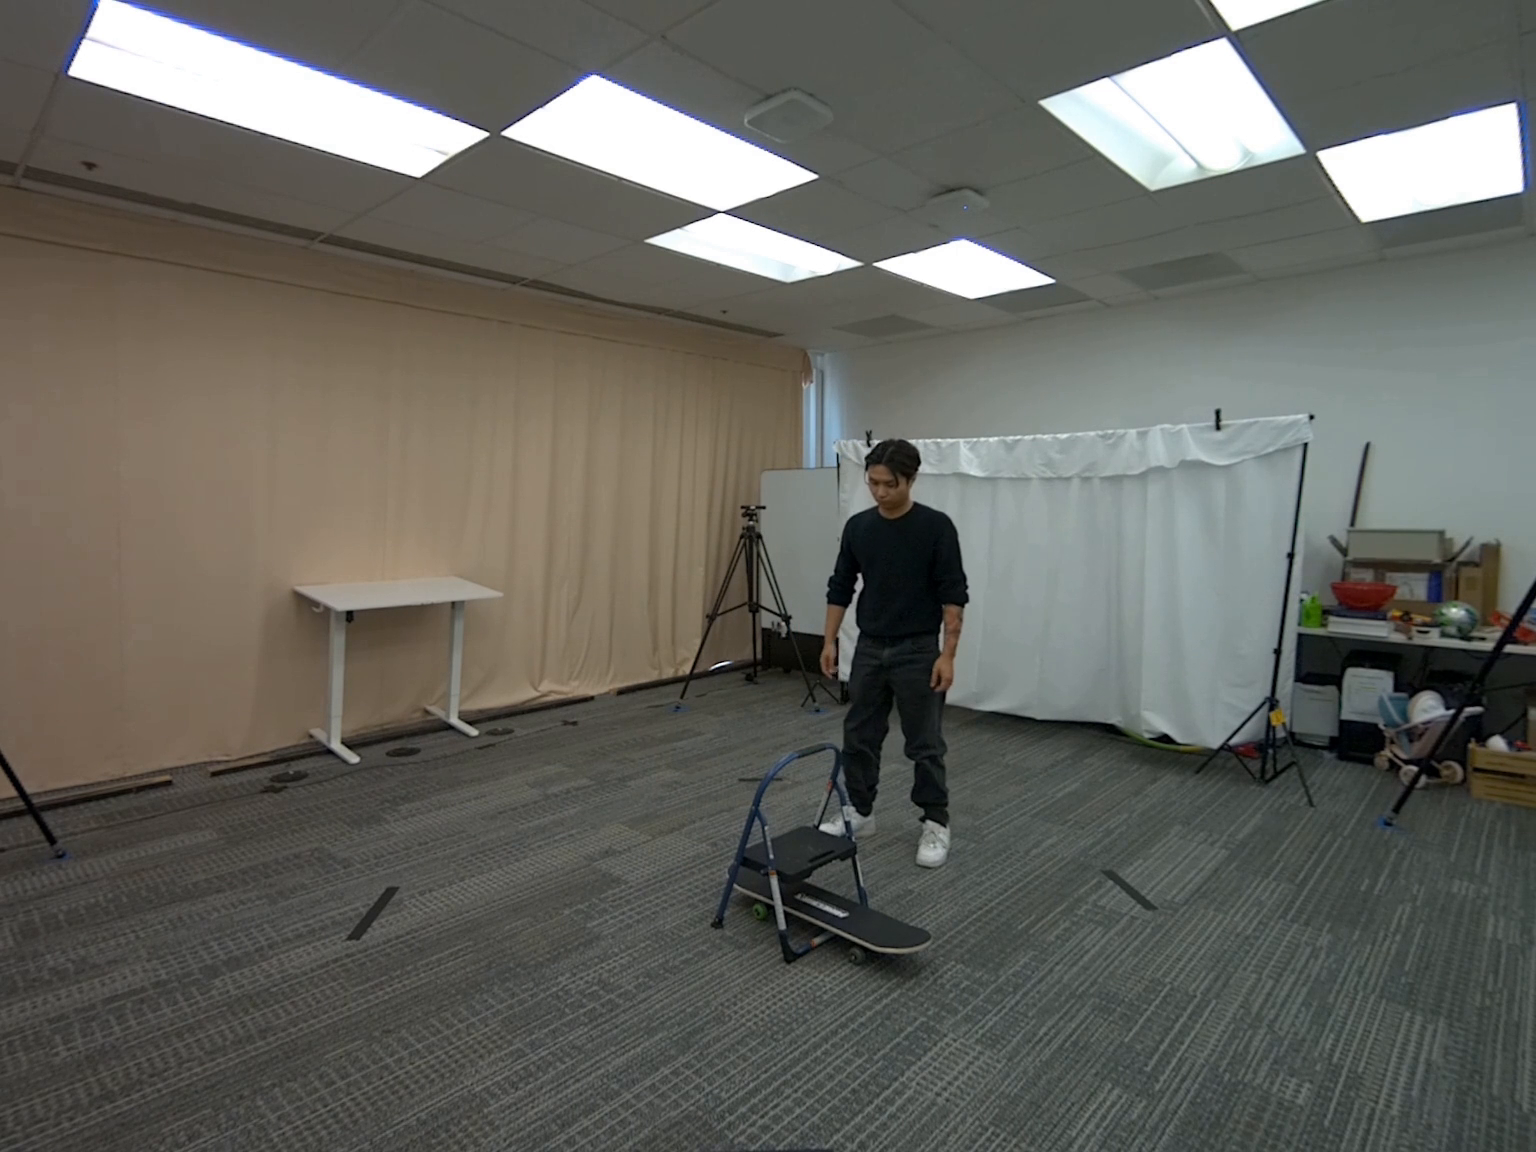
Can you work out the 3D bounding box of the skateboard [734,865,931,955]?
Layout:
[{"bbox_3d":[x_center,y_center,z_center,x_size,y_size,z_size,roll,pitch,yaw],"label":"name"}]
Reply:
[{"bbox_3d":[0.178,1.099,2.758,0.812,0.110,0.187,4,6,43],"label":"skateboard"}]
